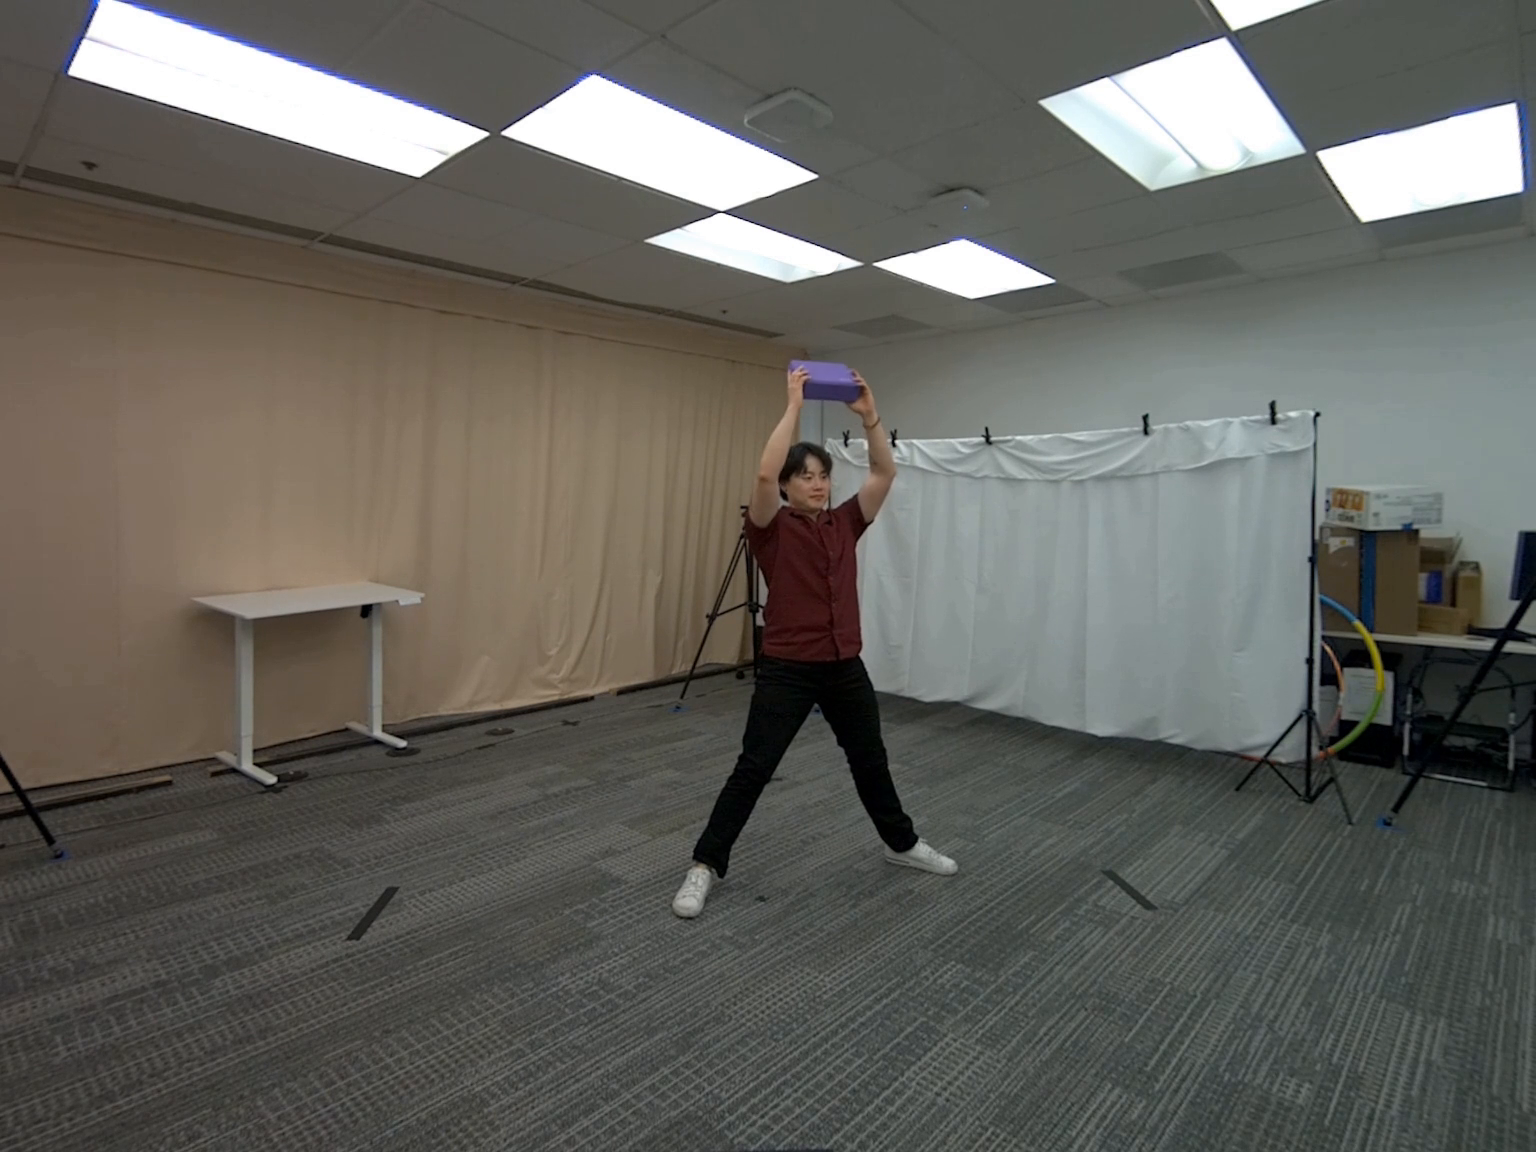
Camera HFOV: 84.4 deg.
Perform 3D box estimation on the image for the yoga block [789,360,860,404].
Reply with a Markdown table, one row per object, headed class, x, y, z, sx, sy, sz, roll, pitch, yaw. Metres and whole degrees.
| class | x | y | z | sx | sy | sz | roll | pitch | yaw |
| --- | --- | --- | --- | --- | --- | --- | --- | --- | --- |
| yoga block | 0.212 | -0.680 | 2.952 | 0.224 | 0.076 | 0.153 | -3 | 43 | -23 |
